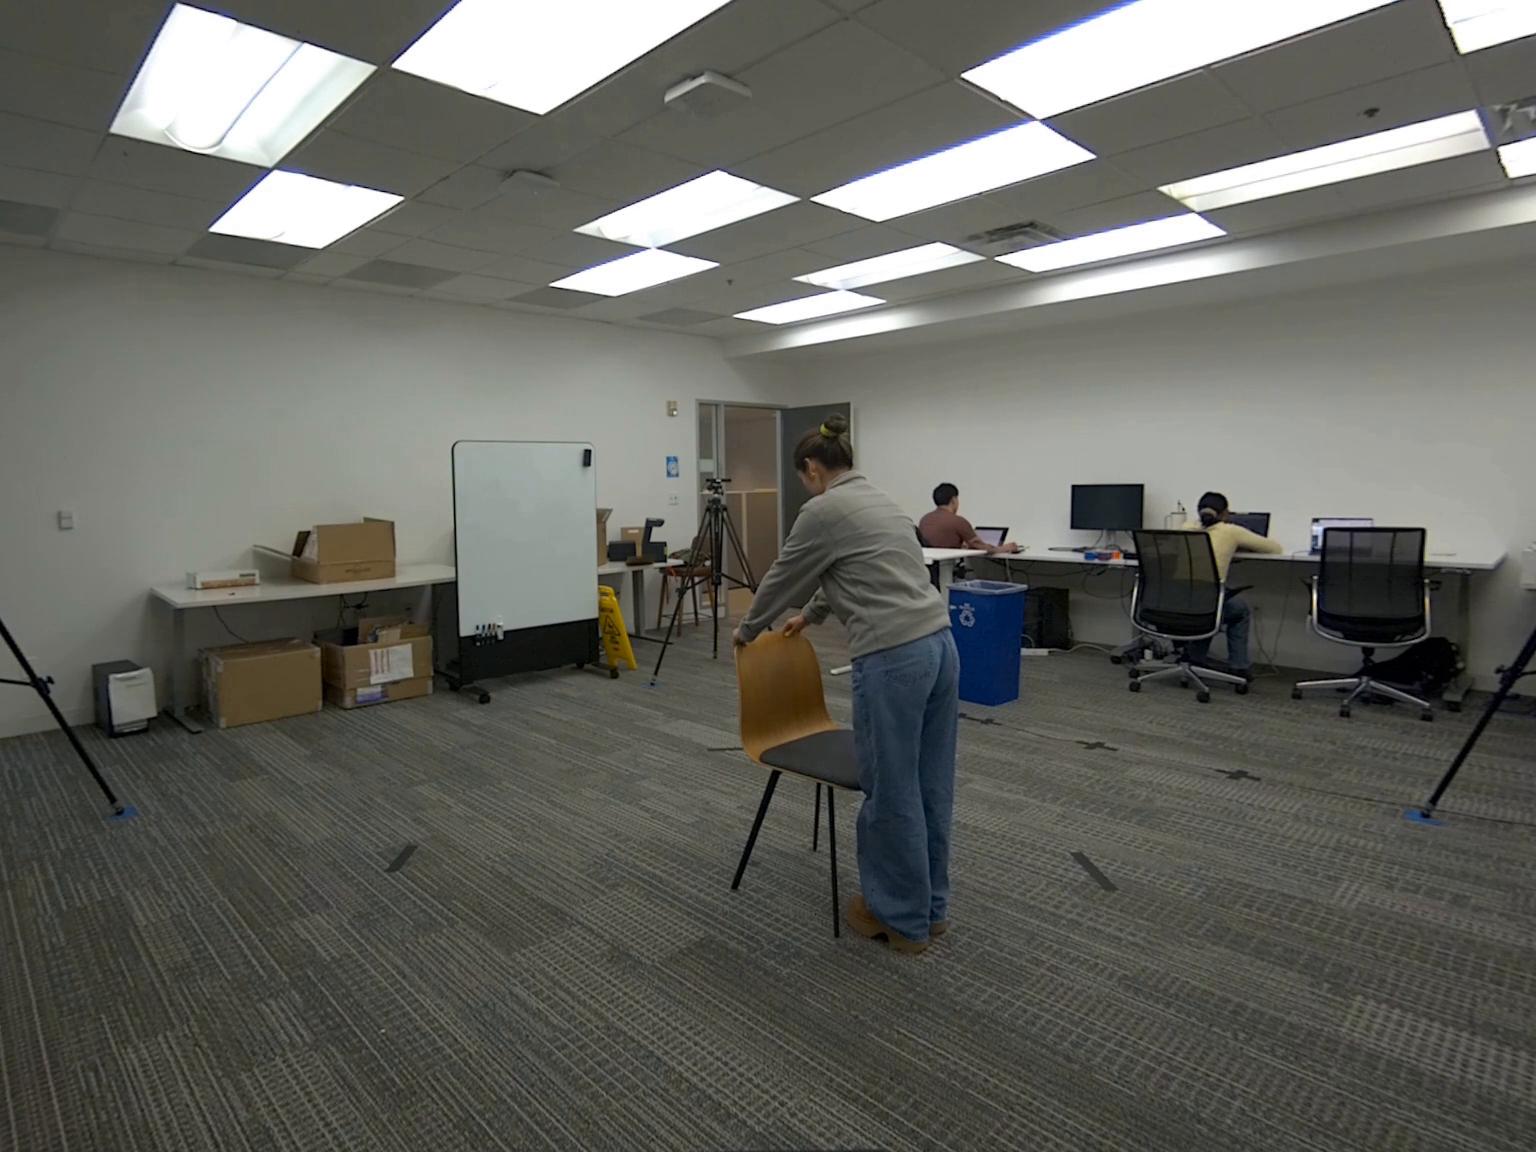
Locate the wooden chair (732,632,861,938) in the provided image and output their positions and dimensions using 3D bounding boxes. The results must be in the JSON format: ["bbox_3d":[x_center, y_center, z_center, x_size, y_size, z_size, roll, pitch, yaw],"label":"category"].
[{"bbox_3d":[0.189,0.641,2.874,0.538,0.876,0.465,-2,2,44],"label":"wooden chair"}]
